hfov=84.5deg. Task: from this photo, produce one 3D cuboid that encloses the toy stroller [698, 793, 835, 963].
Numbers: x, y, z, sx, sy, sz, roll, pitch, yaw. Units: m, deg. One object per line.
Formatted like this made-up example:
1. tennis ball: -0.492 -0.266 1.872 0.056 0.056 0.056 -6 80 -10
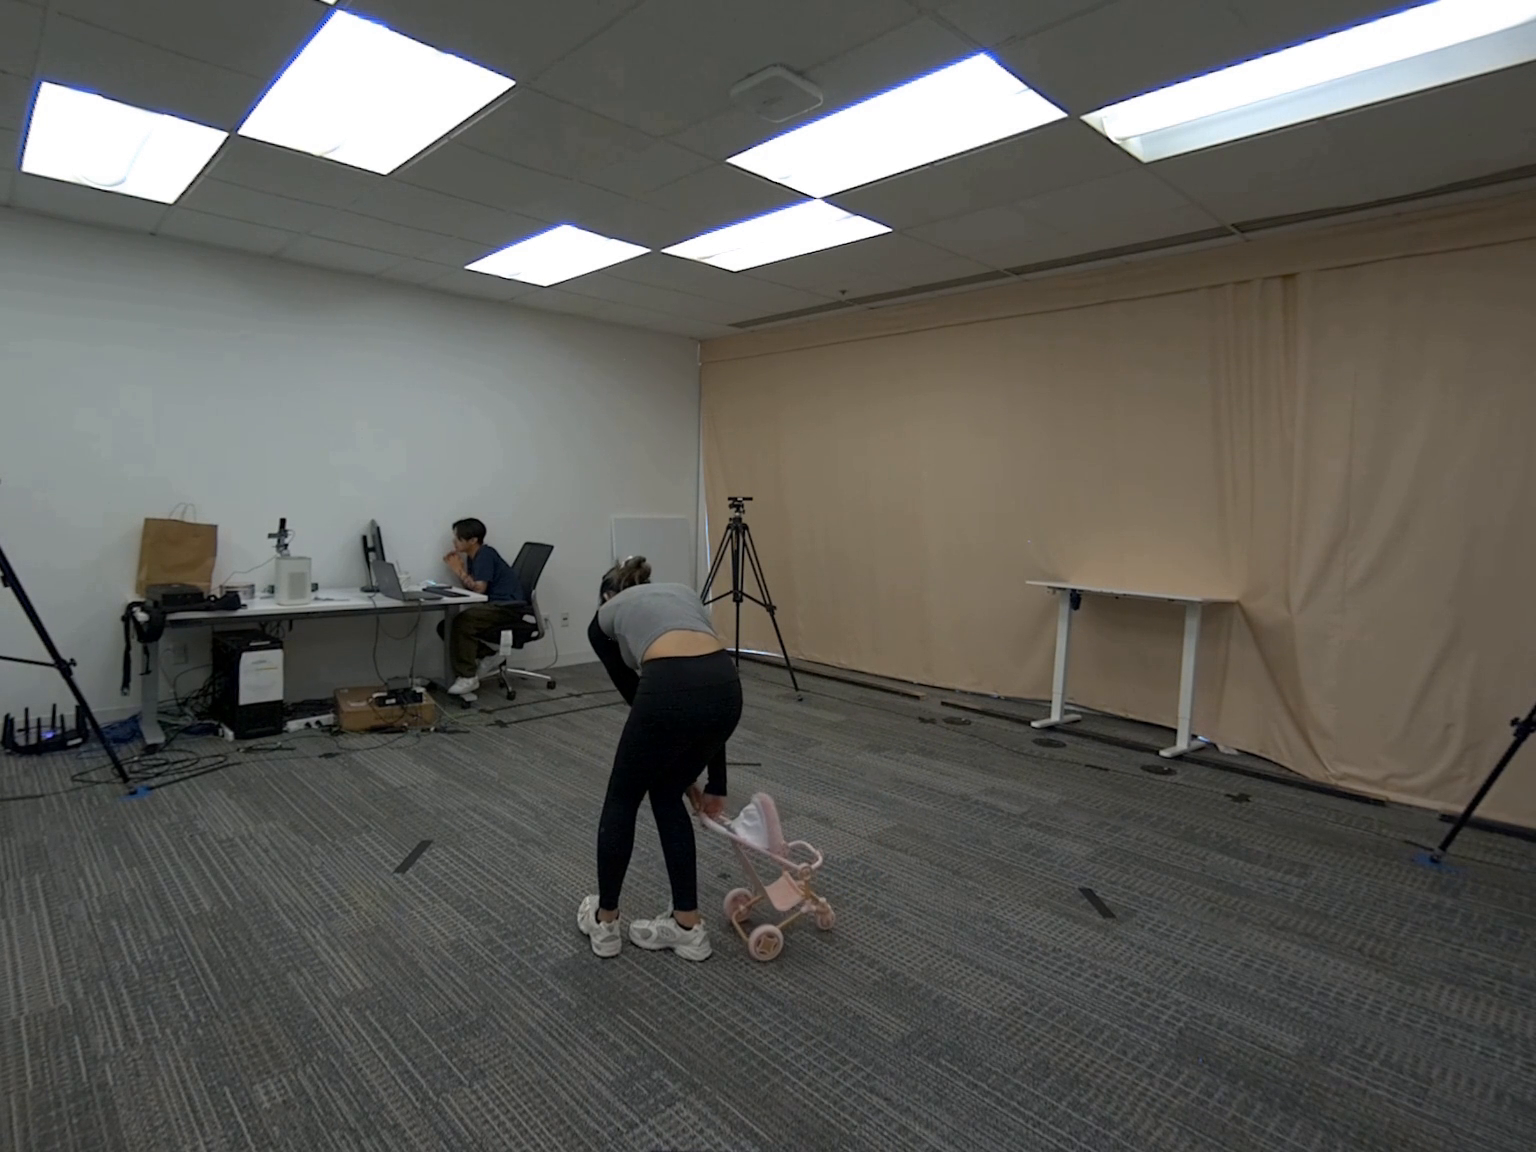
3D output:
1. toy stroller: 0.003 0.923 2.666 0.339 0.532 0.285 -17 6 -14
